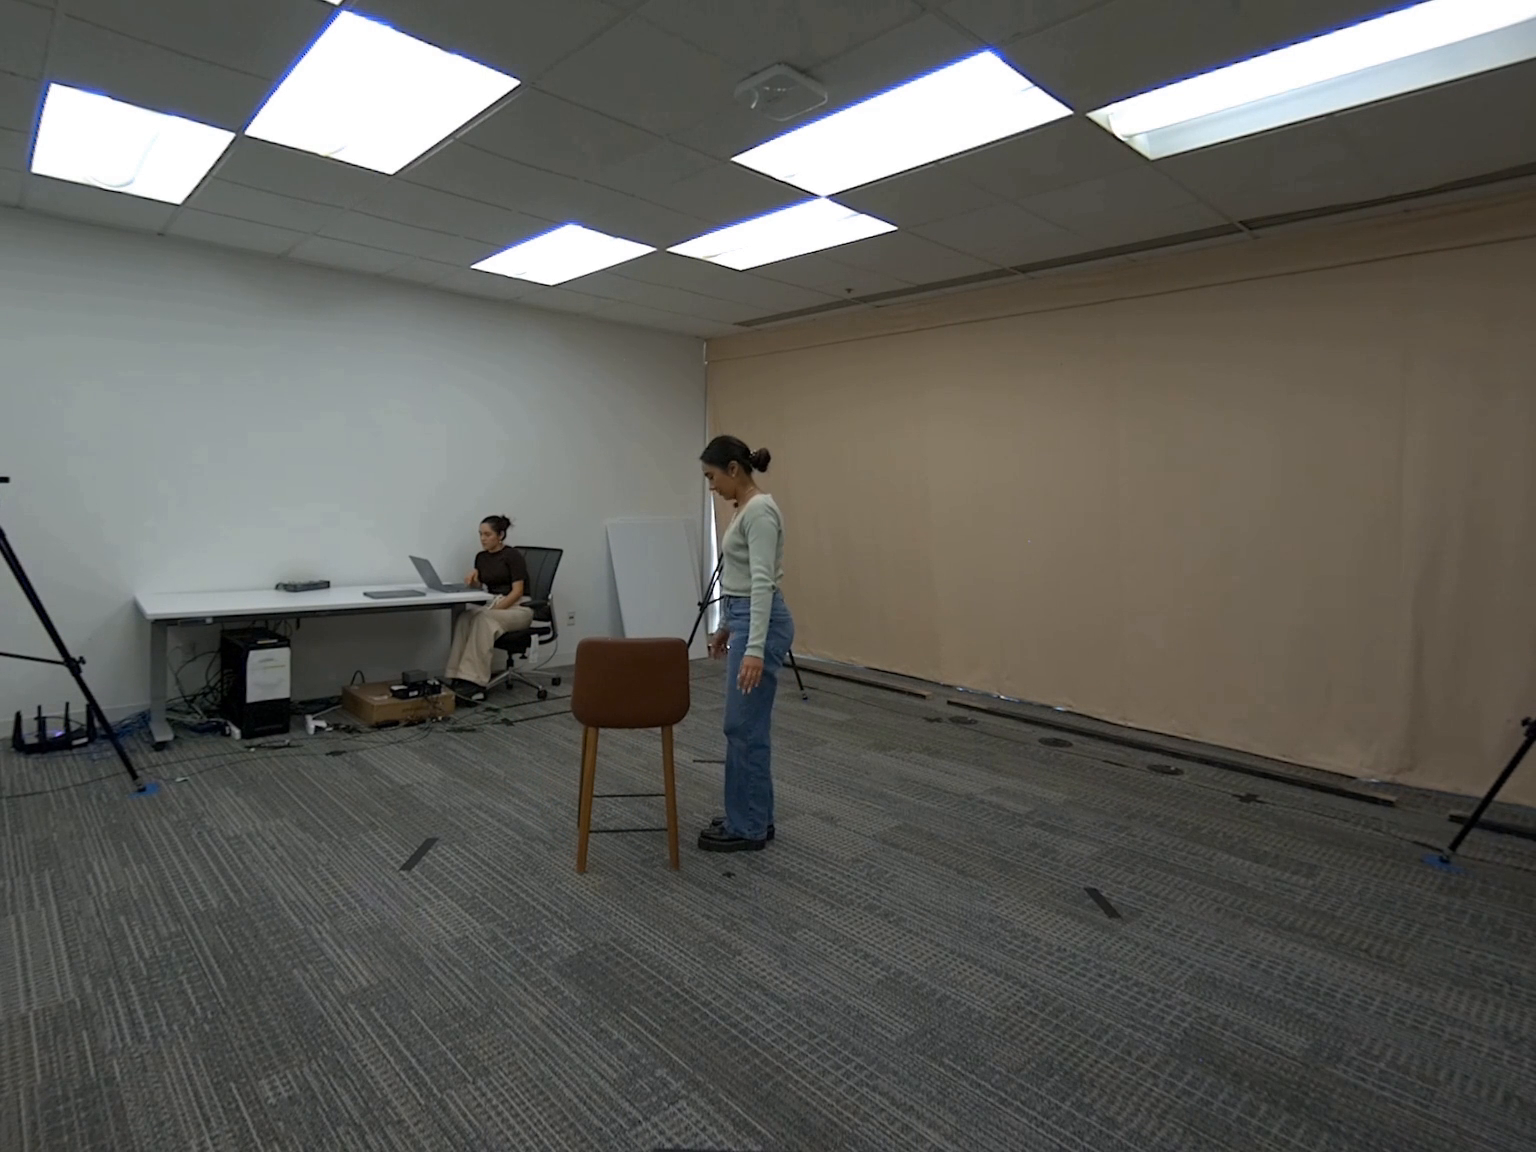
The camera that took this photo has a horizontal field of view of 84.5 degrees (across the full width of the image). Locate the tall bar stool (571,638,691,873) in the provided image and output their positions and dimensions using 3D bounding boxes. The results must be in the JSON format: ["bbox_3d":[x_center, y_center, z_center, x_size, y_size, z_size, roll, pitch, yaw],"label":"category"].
[{"bbox_3d":[-0.550,0.641,3.297,0.453,0.887,0.473,1,5,-10],"label":"tall bar stool"}]
